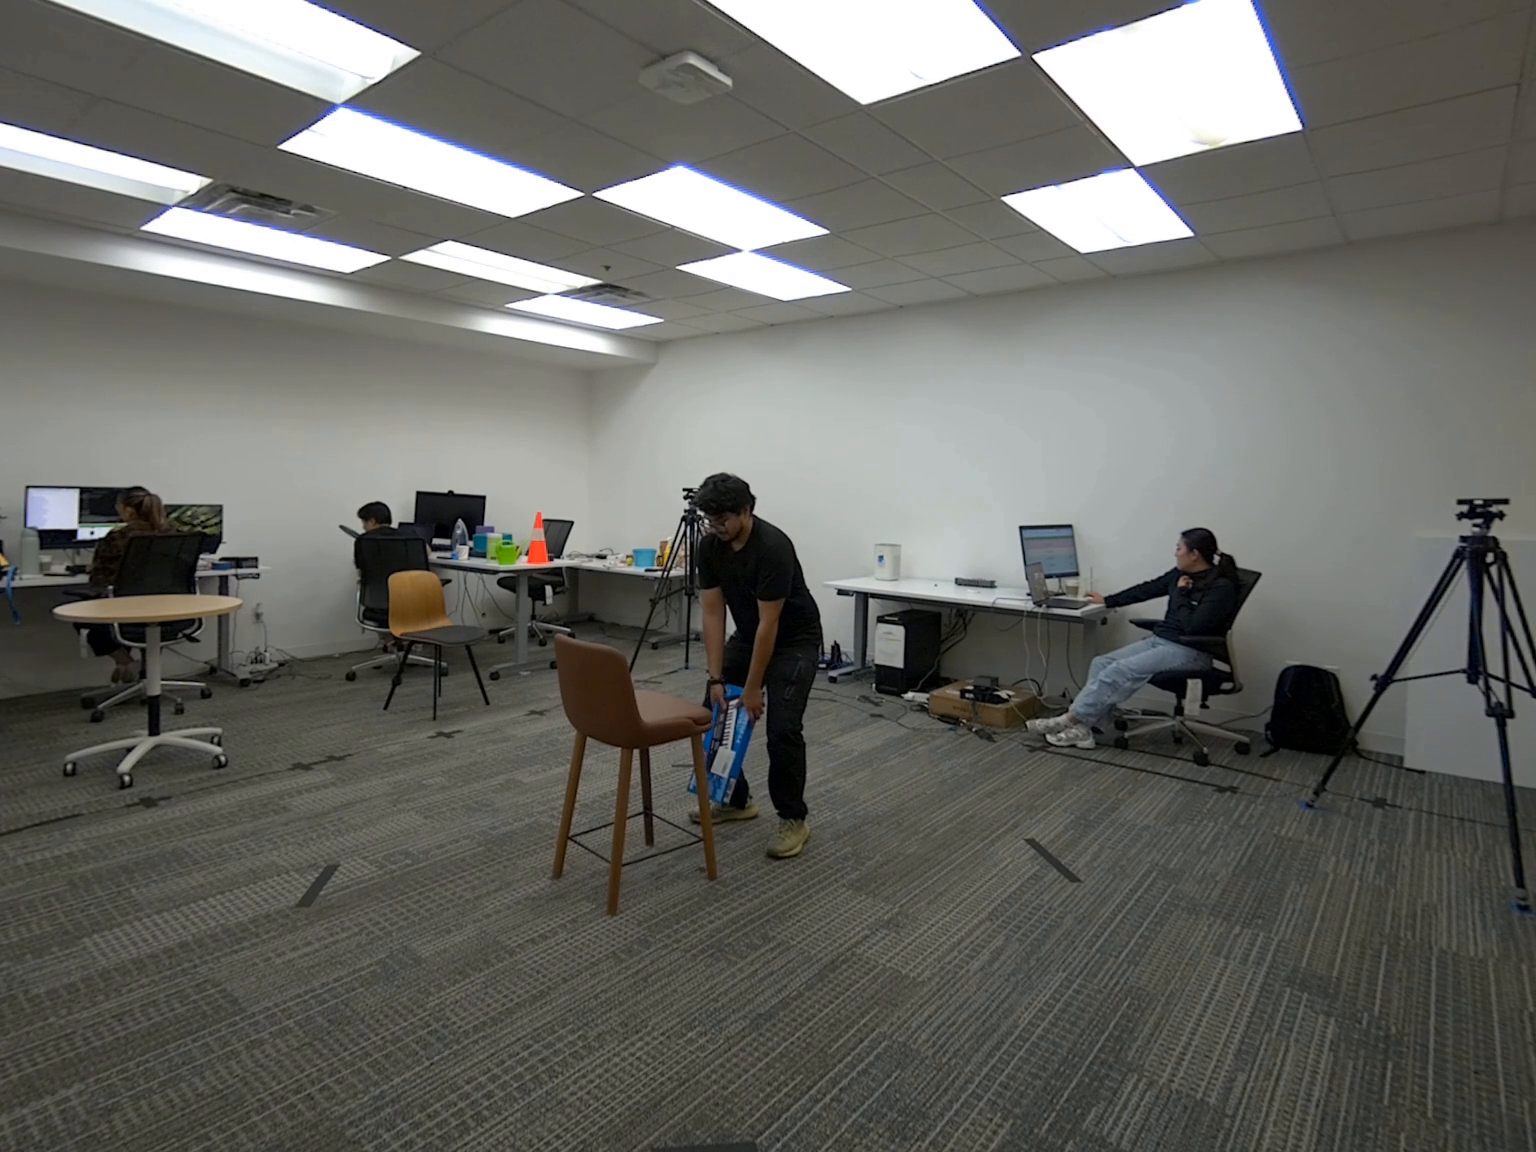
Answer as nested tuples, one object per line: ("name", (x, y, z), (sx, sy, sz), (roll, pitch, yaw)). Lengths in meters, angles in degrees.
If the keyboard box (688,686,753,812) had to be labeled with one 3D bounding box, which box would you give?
("keyboard box", (-0.174, 0.651, 3.325), (0.182, 0.441, 0.056), (6, -20, 37))
